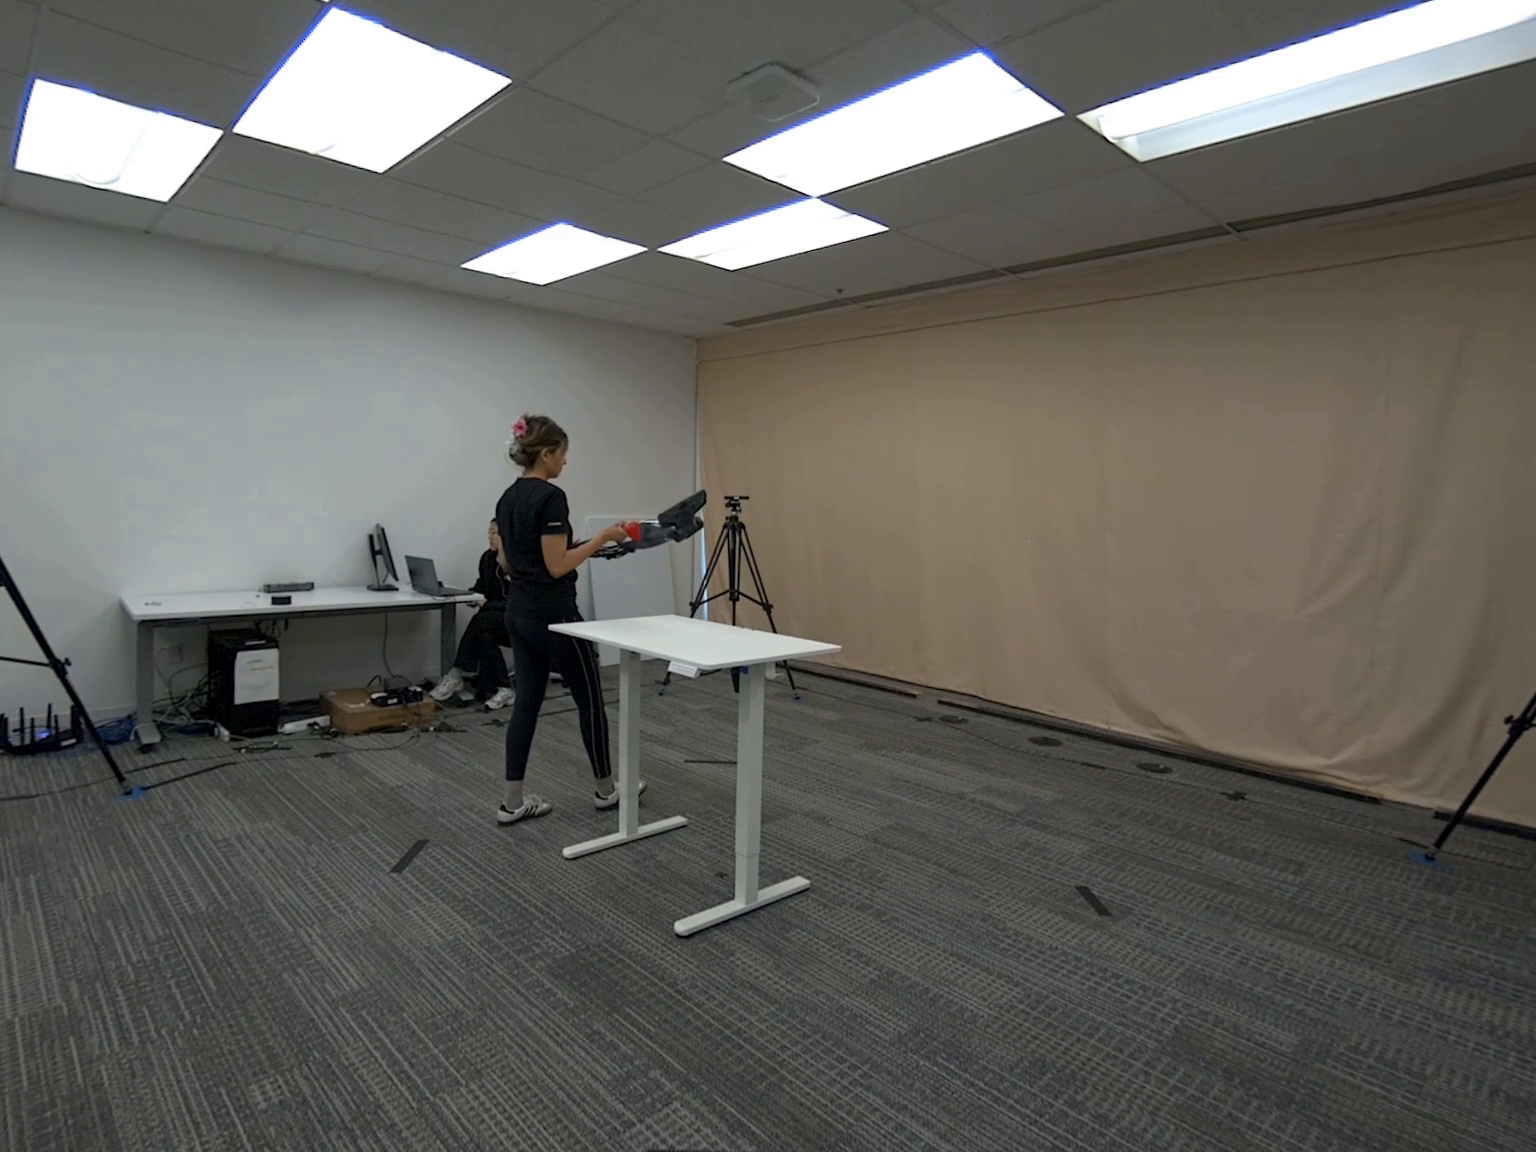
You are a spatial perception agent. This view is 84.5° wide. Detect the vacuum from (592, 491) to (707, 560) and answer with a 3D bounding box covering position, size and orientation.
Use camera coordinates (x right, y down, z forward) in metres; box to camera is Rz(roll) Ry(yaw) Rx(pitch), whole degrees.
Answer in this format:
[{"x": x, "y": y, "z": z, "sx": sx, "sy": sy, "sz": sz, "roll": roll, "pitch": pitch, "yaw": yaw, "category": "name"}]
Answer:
[{"x": -0.635, "y": -0.152, "z": 3.603, "sx": 0.251, "sy": 0.142, "sz": 1.067, "roll": -35, "pitch": 14, "yaw": -37, "category": "vacuum"}]
